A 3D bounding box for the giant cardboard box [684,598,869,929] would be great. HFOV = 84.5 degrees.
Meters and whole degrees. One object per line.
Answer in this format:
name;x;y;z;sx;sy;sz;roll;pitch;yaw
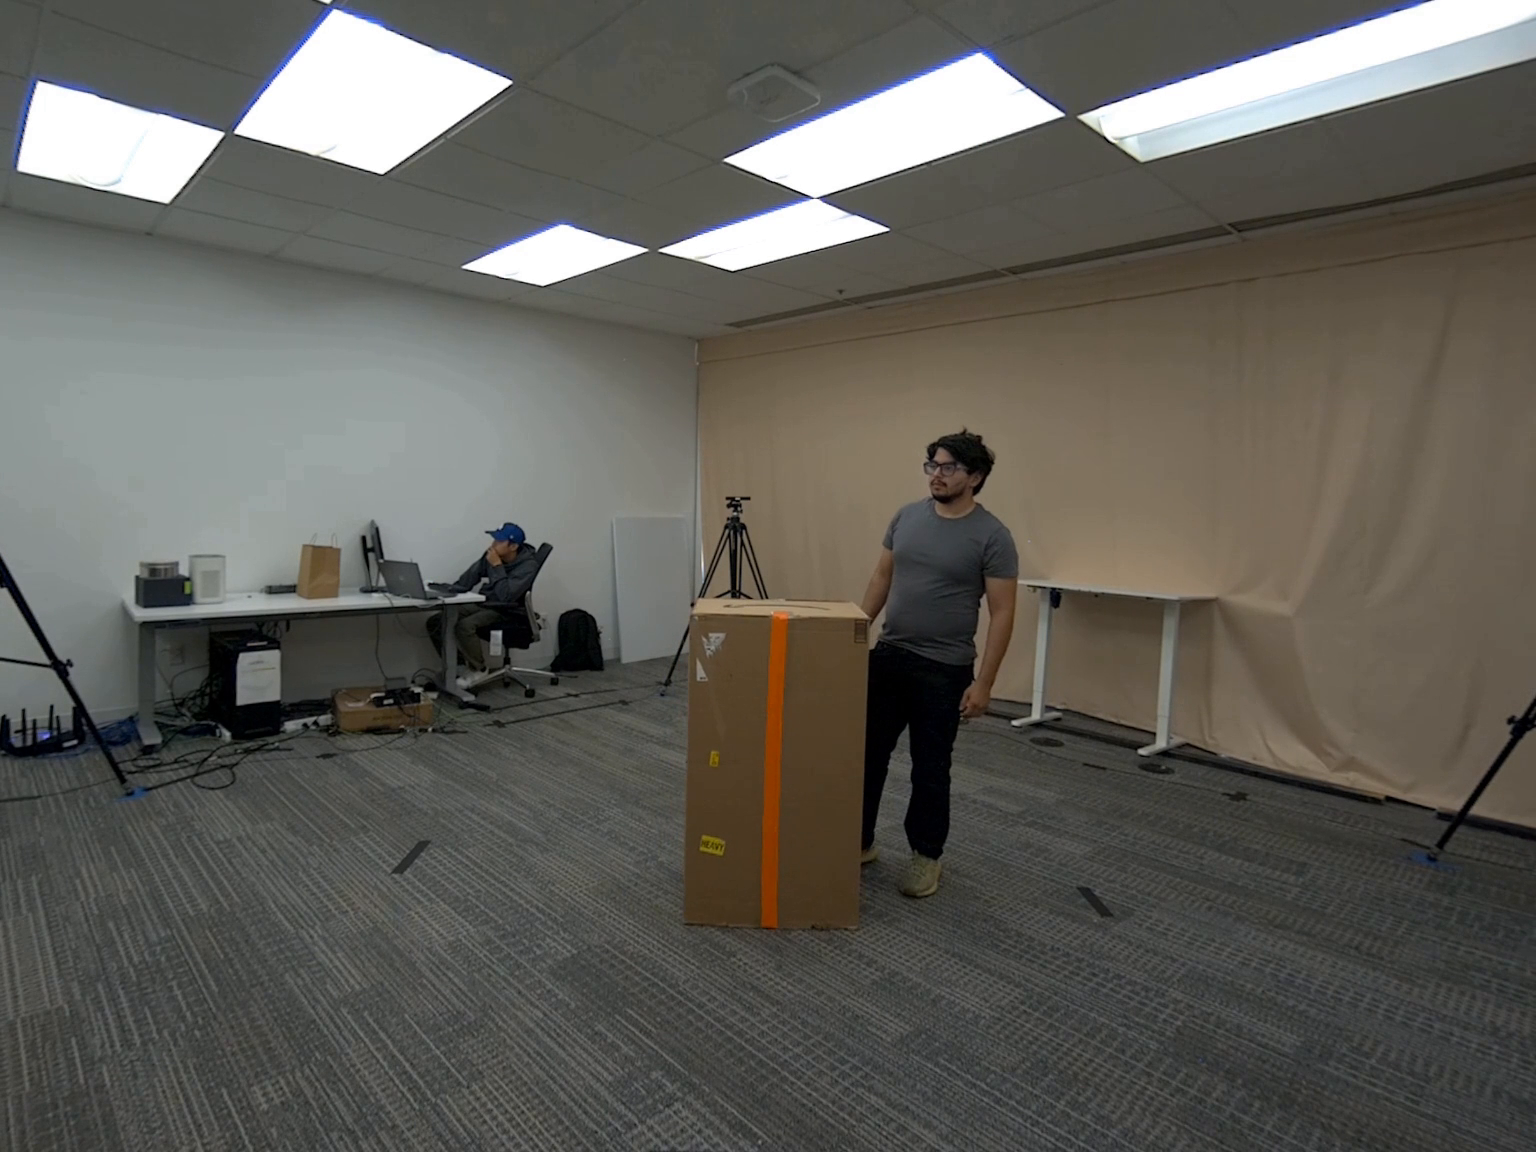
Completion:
giant cardboard box;0.011;0.619;2.912;0.584;1.025;0.448;2;3;-1
